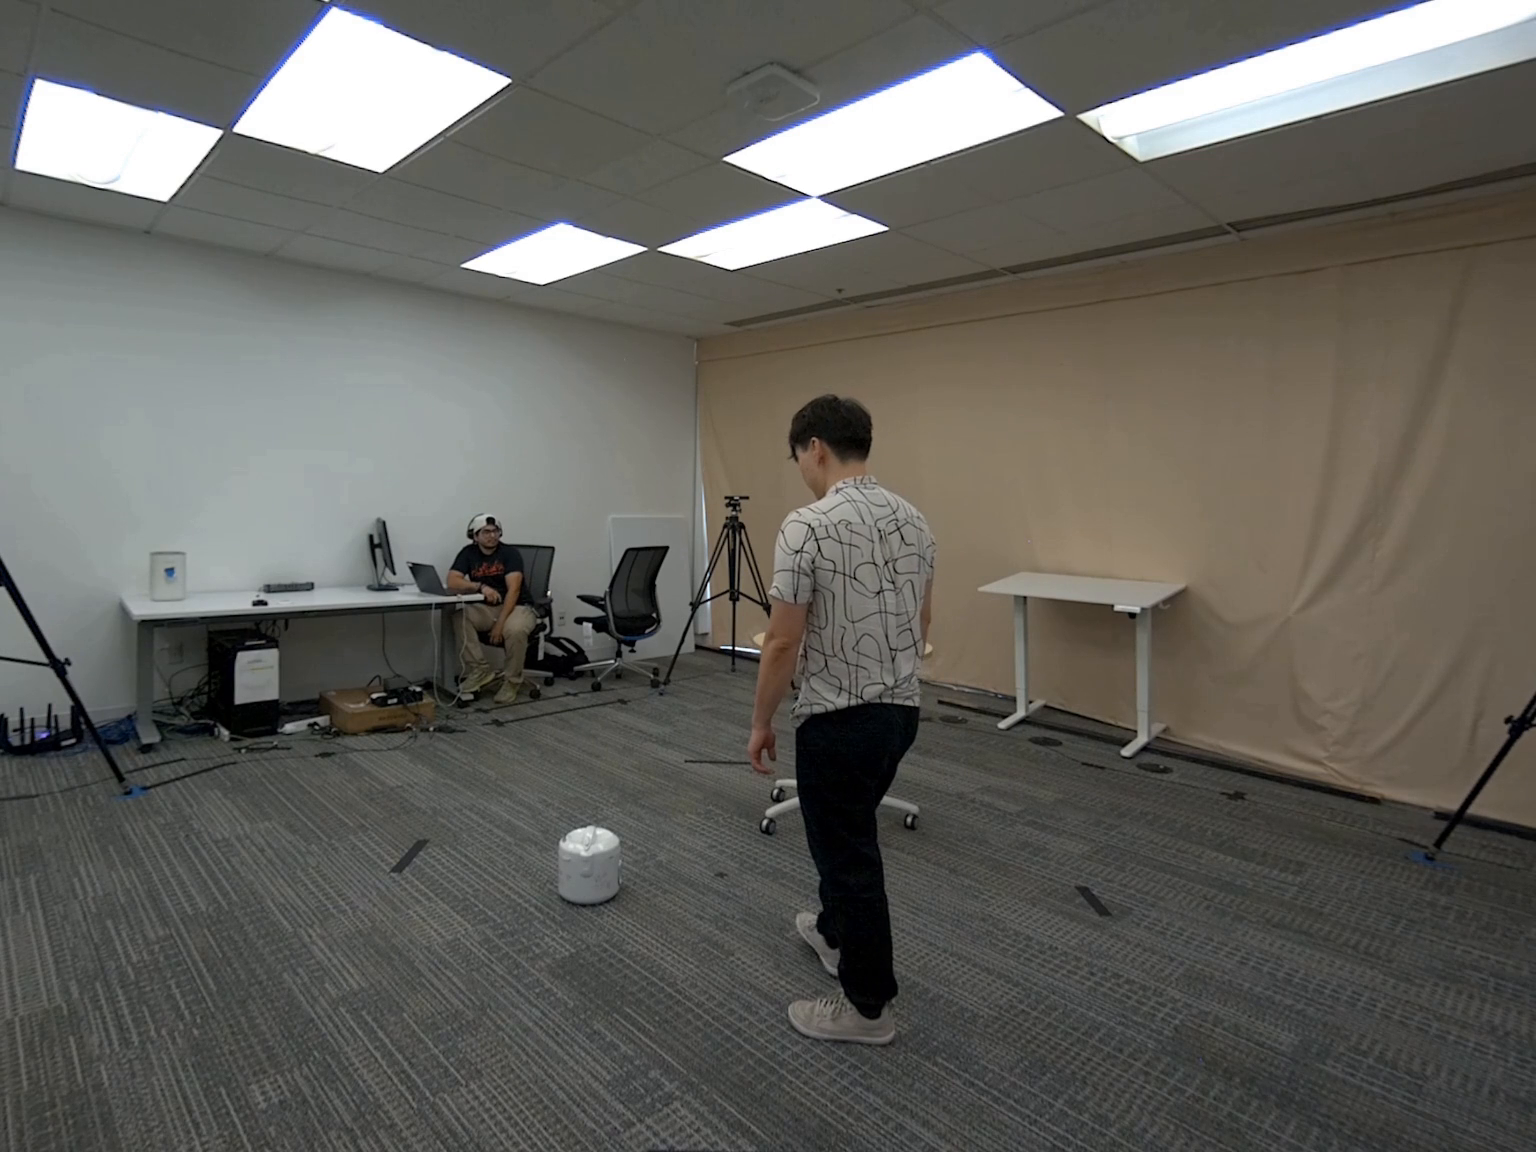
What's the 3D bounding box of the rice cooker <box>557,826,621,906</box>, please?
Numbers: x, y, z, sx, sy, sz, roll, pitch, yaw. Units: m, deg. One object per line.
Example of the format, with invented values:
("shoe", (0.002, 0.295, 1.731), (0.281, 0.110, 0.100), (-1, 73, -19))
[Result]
("rice cooker", (-0.622, 0.991, 2.923), (0.217, 0.232, 0.222), (1, 4, -3))
